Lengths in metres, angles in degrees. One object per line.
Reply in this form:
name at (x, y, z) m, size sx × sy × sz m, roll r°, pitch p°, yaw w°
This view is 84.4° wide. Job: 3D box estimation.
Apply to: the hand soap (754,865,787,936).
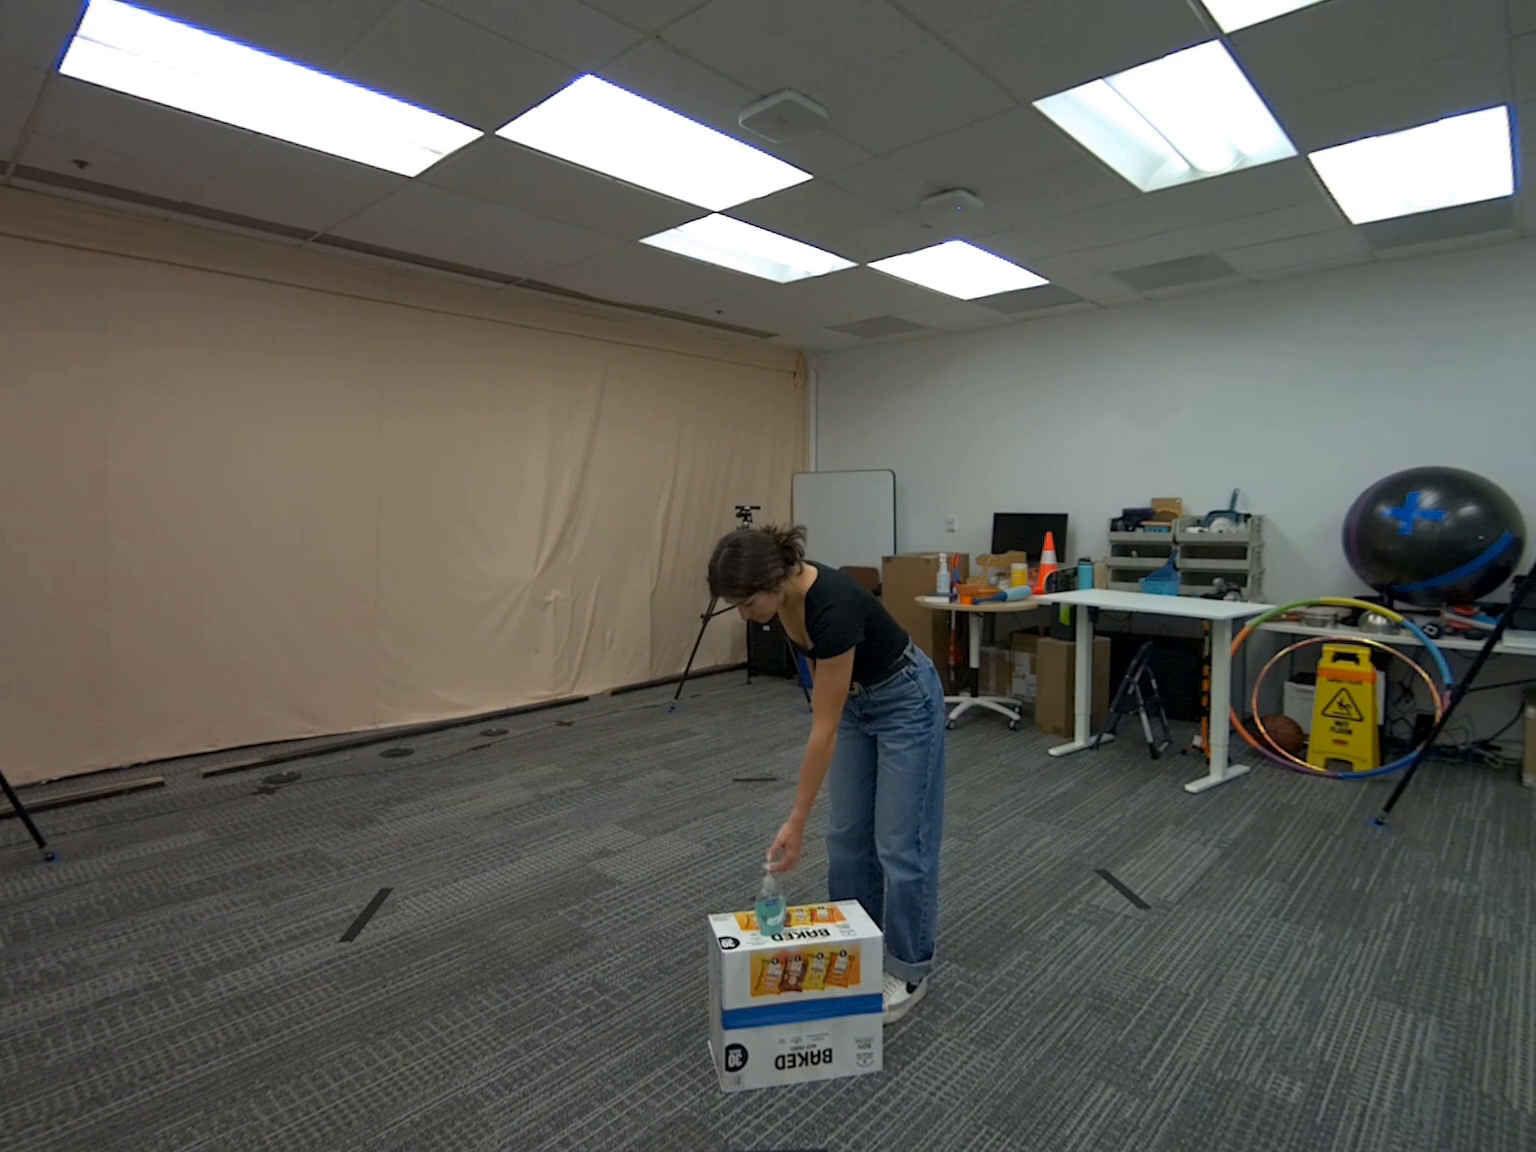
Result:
hand soap at (0.003, 0.795, 2.088) m, size 0.082 × 0.168 × 0.045 m, roll -2°, pitch 1°, yaw -34°
